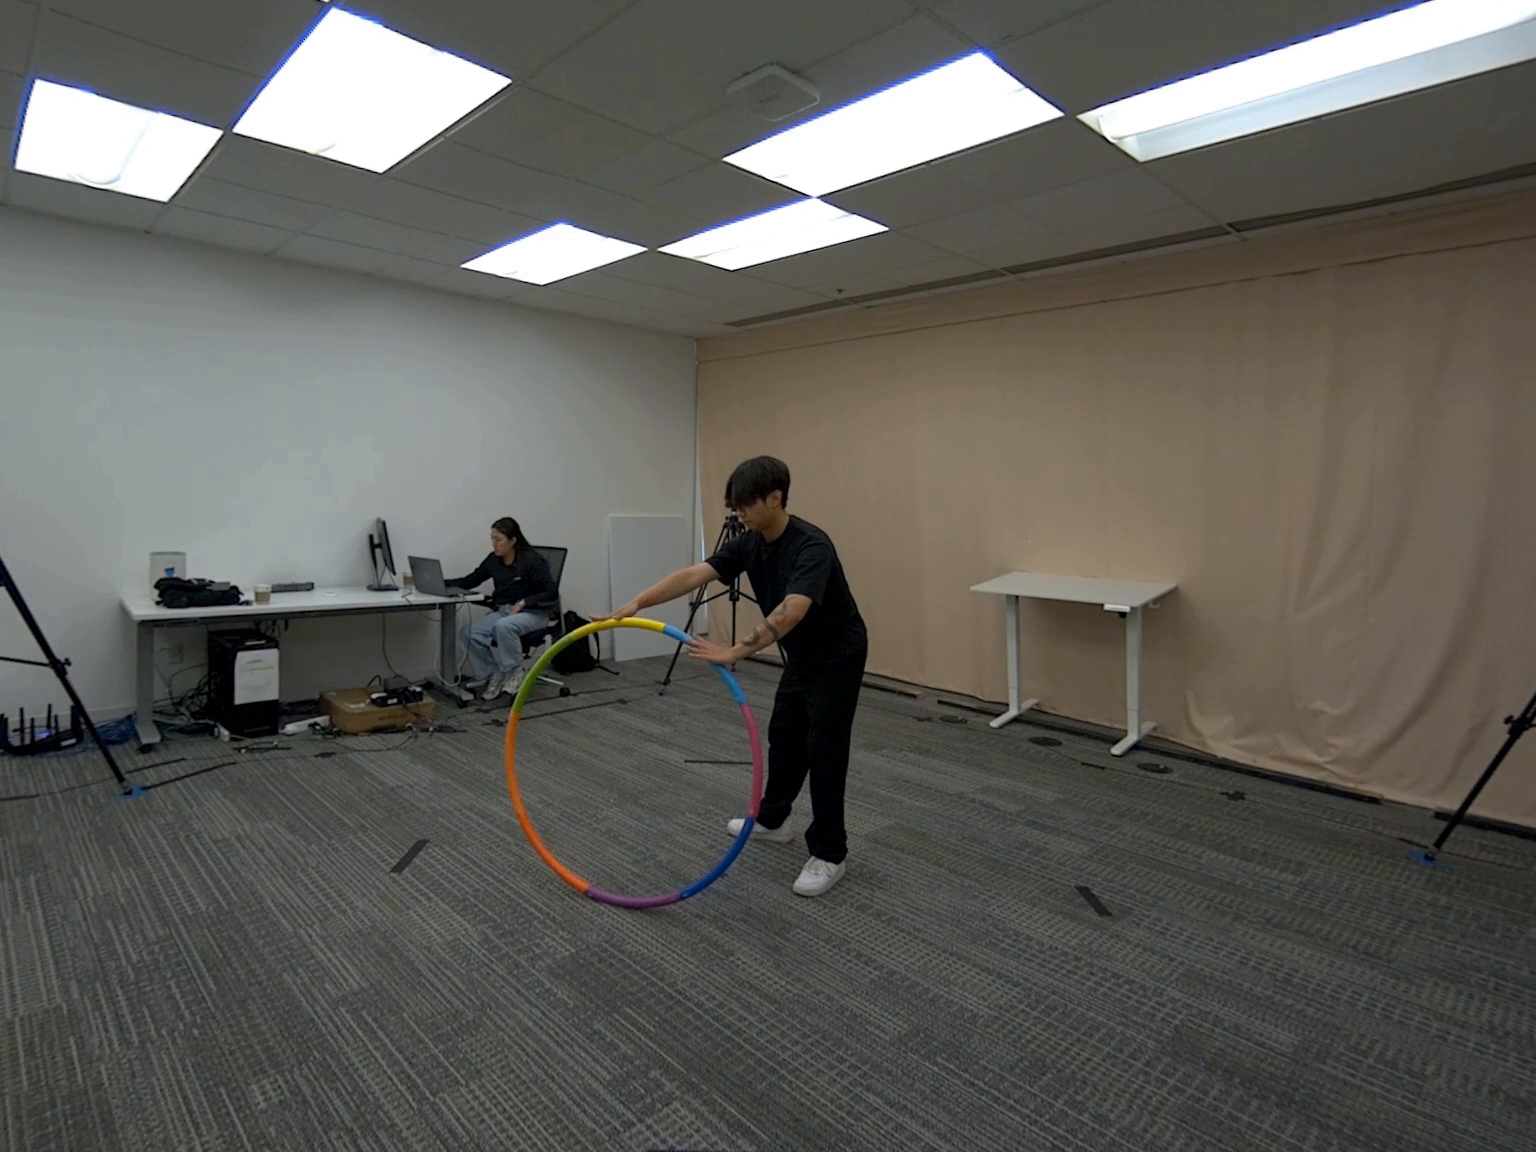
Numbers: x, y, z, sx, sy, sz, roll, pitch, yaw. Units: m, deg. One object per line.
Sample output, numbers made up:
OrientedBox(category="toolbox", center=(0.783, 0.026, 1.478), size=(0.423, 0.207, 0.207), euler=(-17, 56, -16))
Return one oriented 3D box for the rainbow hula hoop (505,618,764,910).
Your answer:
OrientedBox(category="rainbow hula hoop", center=(-0.492, 0.637, 2.887), size=(0.996, 0.981, 0.035), euler=(3, -4, 22))
